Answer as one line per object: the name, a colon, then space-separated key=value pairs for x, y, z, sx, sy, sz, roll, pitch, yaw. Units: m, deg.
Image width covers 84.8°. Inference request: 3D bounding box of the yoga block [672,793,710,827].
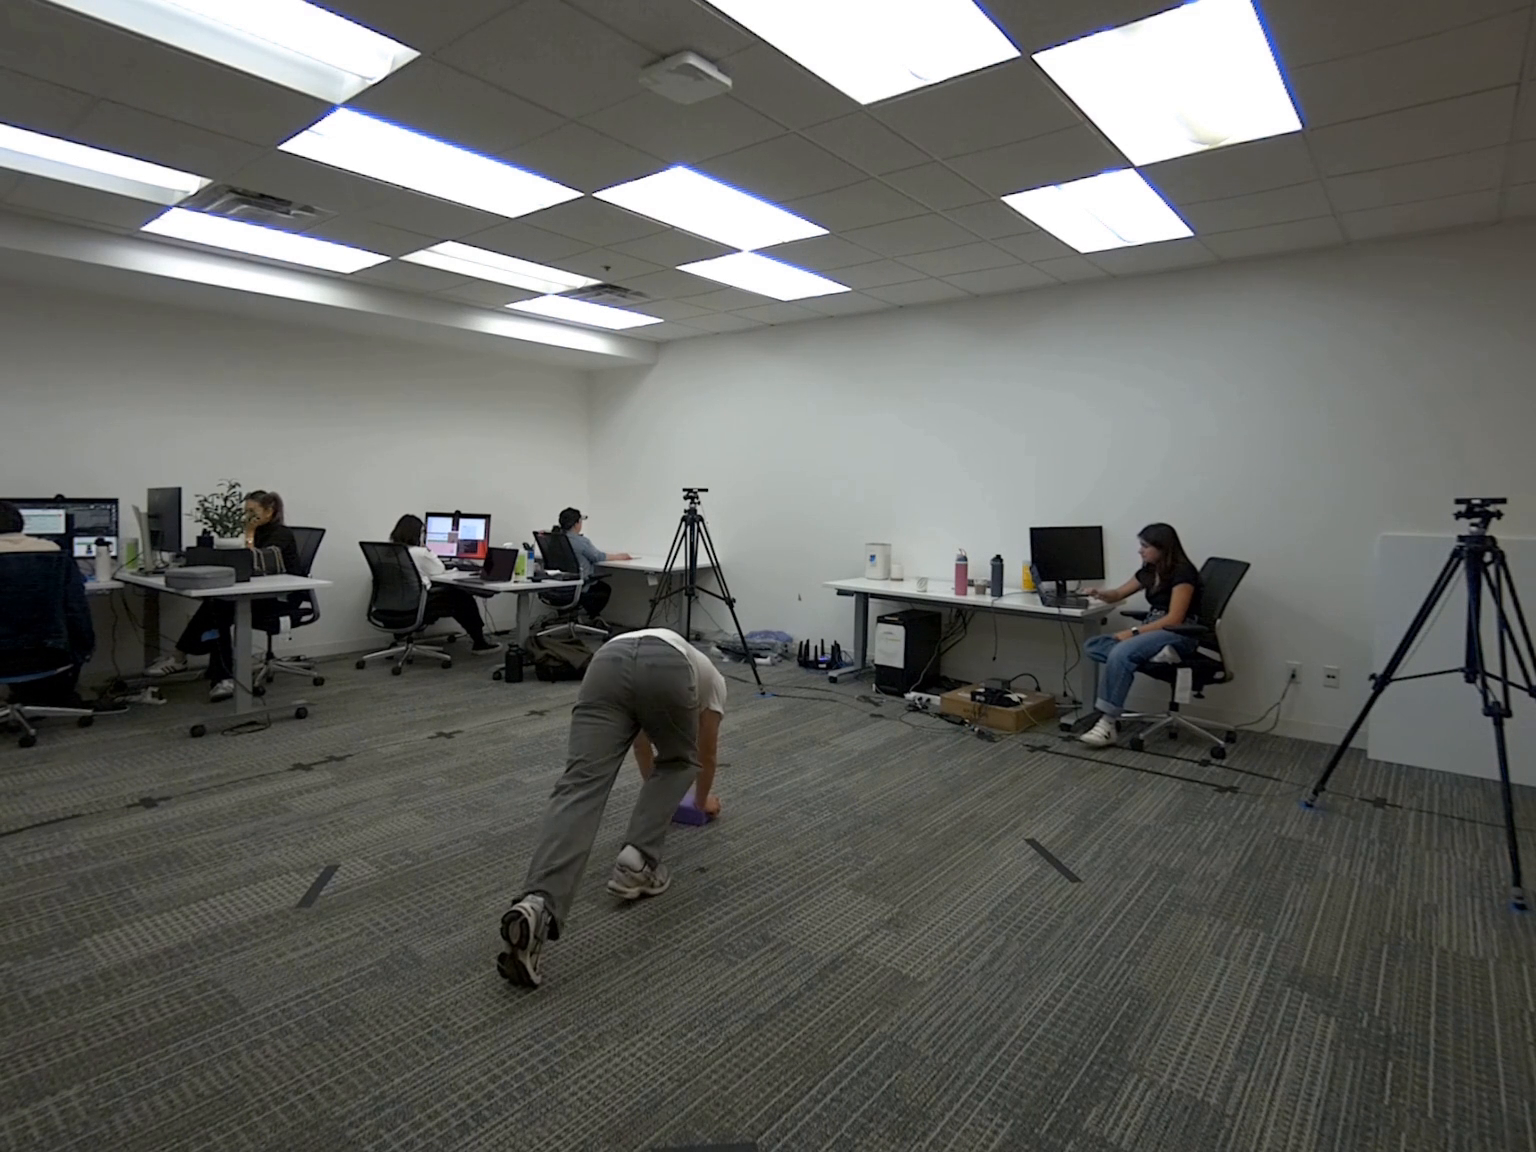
yoga block: x=-0.357 y=0.975 z=3.610 sx=0.234 sy=0.076 sz=0.146 roll=2 pitch=5 yaw=20
